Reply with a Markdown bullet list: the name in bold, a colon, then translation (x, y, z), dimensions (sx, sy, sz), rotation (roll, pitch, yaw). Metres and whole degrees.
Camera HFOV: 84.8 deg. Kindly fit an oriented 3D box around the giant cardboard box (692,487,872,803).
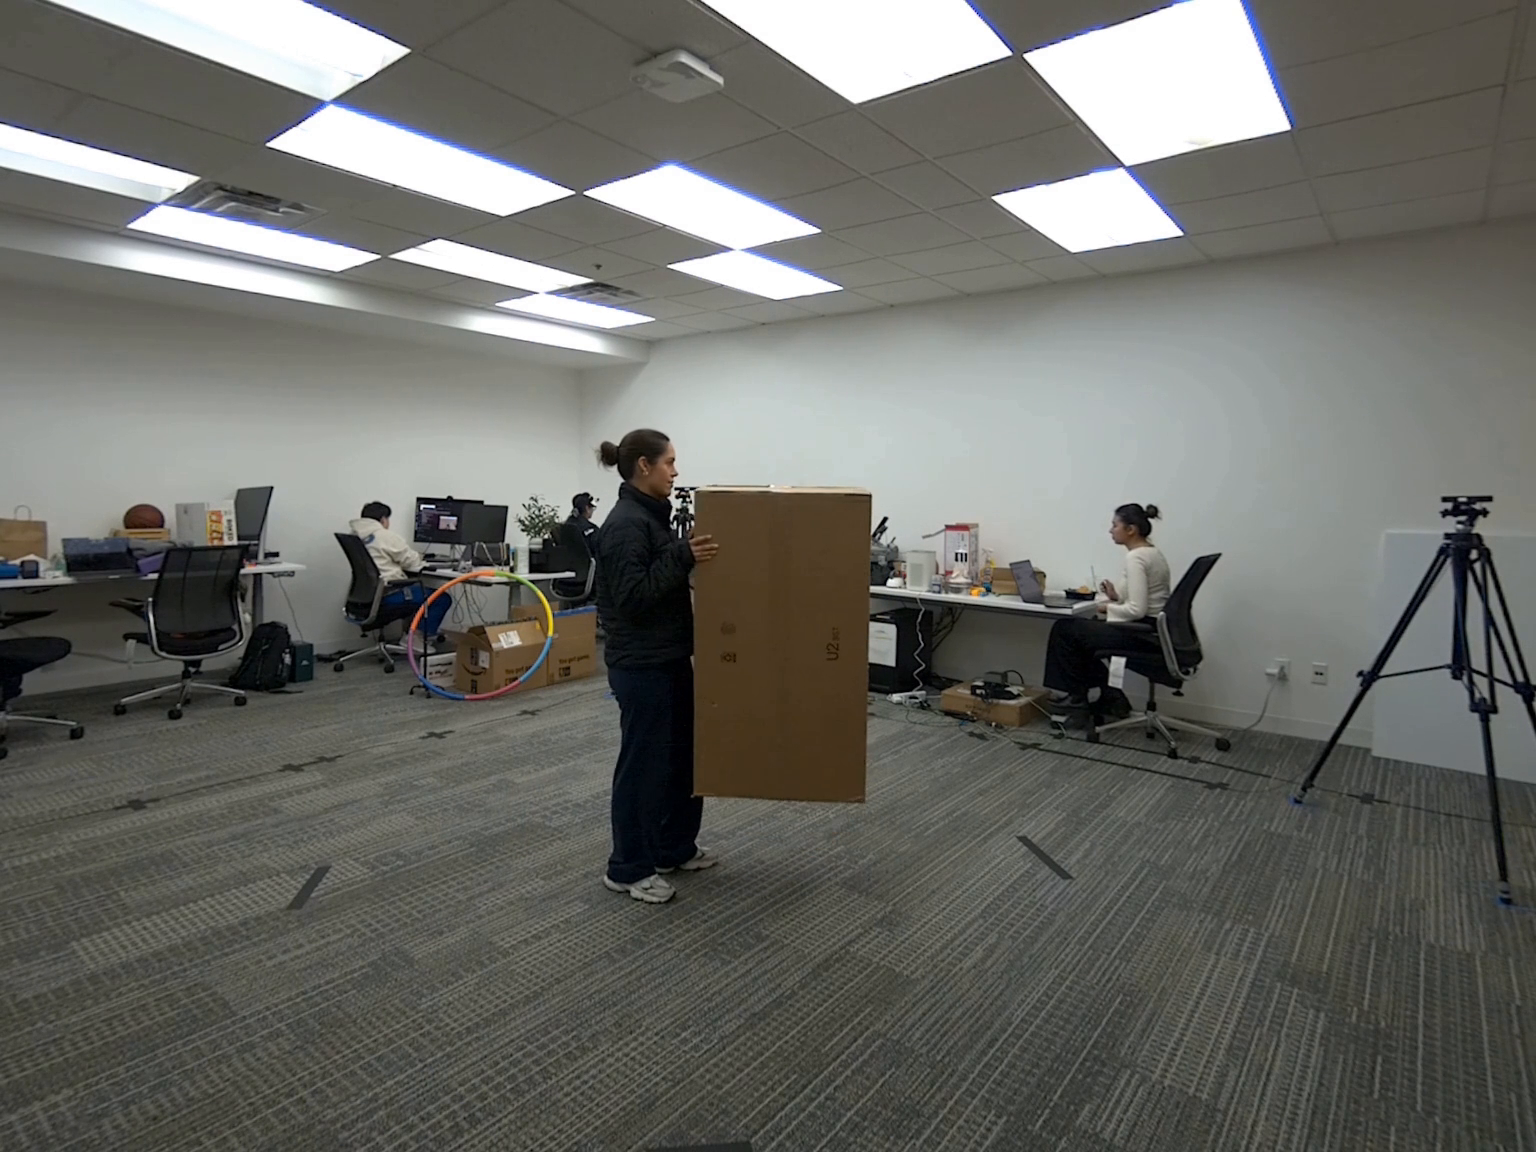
- **giant cardboard box**: translation (0.047, 0.212, 2.982), dimensions (0.581, 1.020, 0.426), rotation (1, 6, 4)
